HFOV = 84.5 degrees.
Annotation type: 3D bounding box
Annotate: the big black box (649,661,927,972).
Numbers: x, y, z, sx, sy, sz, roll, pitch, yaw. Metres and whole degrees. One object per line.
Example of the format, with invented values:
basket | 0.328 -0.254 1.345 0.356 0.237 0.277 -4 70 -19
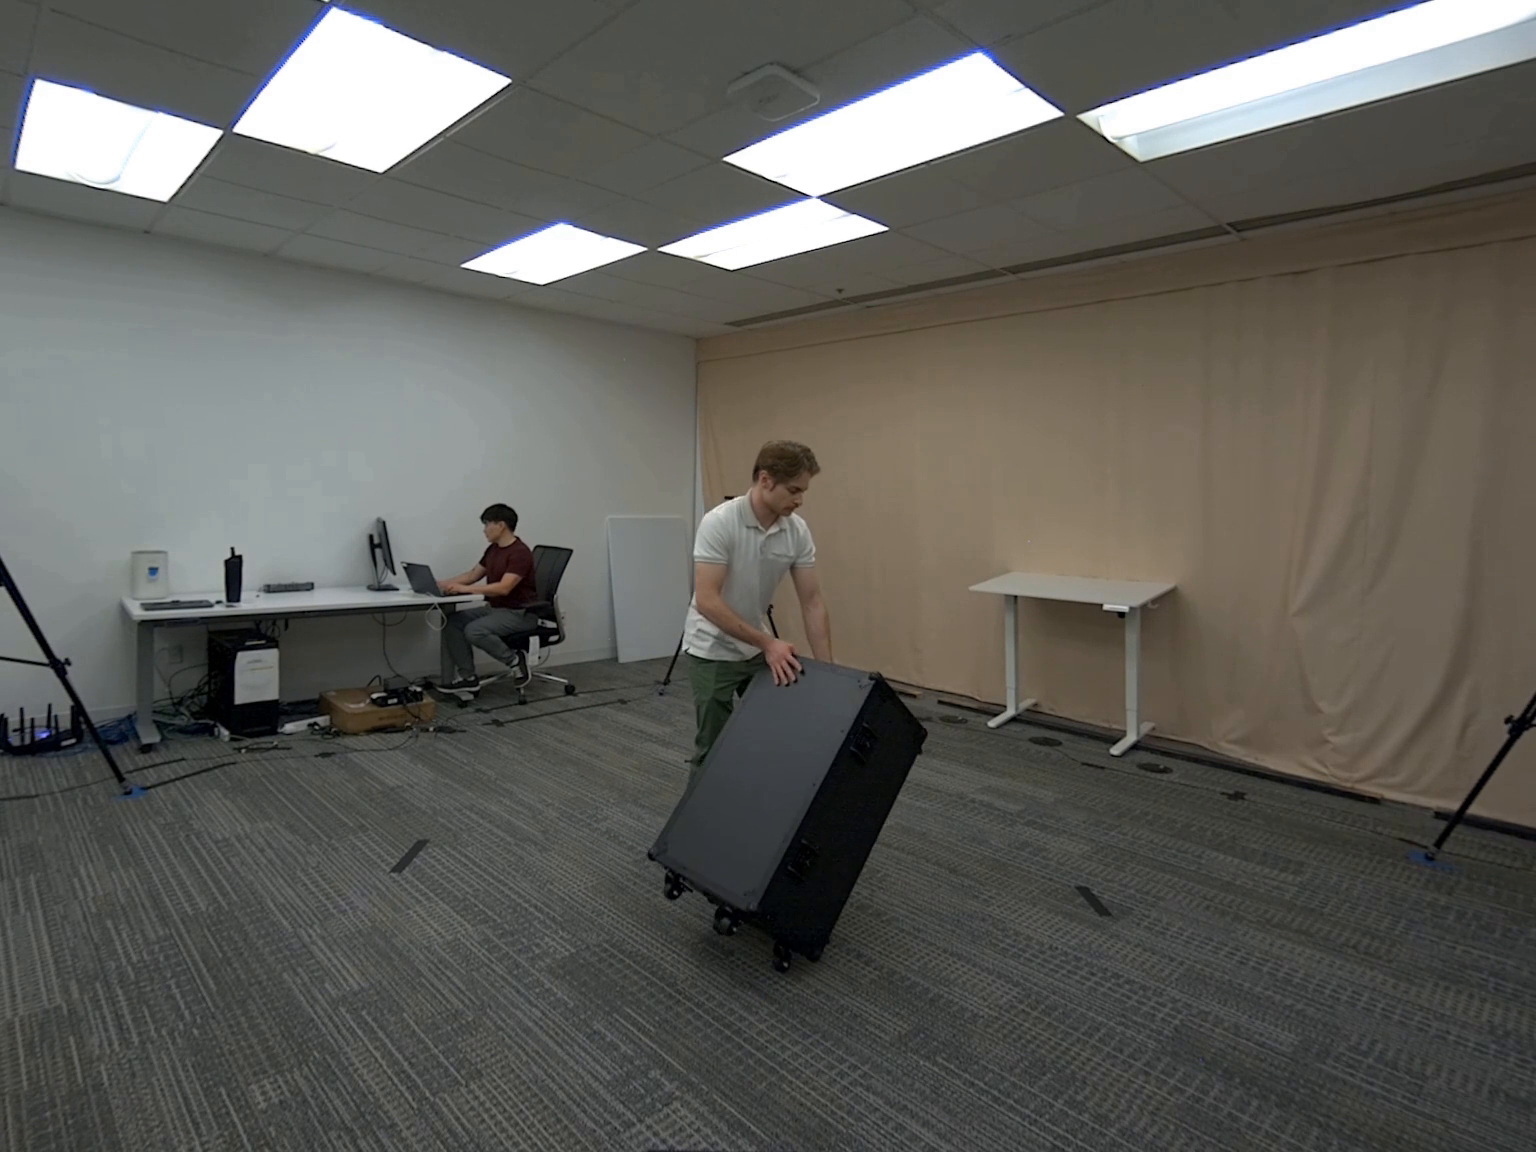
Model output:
big black box | 0.053 0.723 2.663 0.537 0.872 0.374 7 -33 46
